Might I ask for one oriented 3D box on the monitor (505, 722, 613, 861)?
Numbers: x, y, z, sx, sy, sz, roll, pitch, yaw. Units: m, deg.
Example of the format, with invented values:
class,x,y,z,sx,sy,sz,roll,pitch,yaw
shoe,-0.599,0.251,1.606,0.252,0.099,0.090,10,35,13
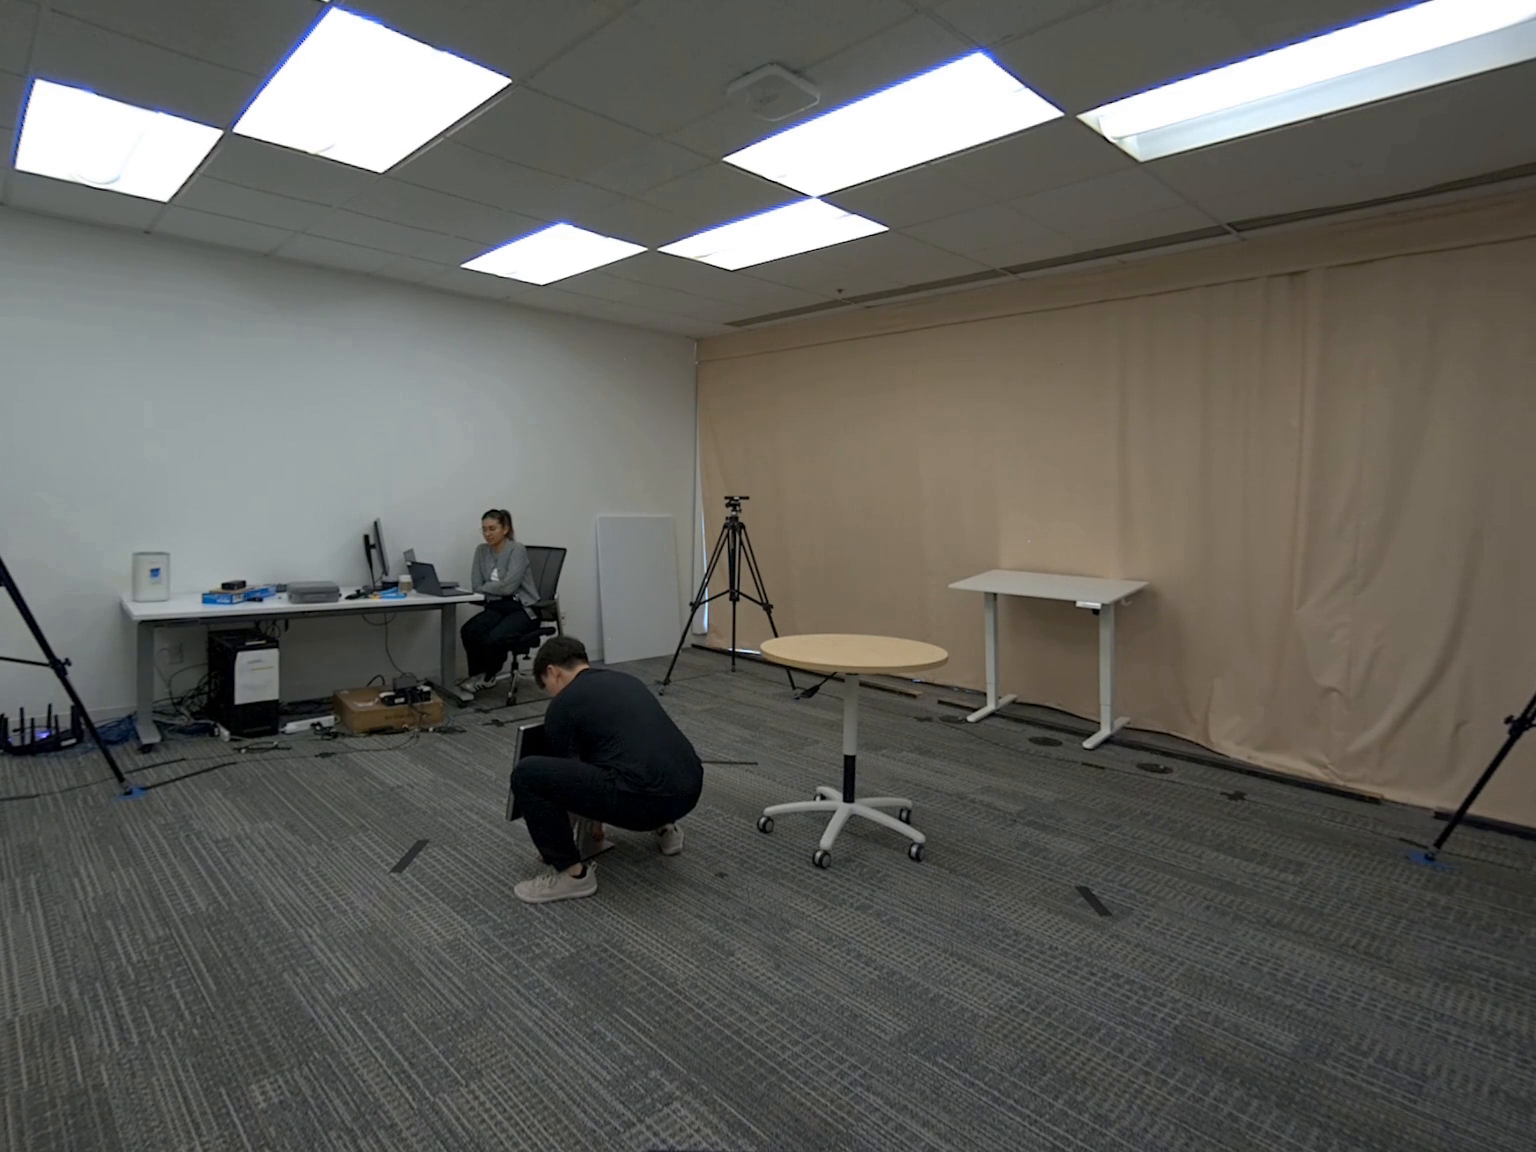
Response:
class,x,y,z,sx,sy,sz,roll,pitch,yaw
monitor,-0.747,0.802,3.278,0.191,0.522,0.528,1,3,32
